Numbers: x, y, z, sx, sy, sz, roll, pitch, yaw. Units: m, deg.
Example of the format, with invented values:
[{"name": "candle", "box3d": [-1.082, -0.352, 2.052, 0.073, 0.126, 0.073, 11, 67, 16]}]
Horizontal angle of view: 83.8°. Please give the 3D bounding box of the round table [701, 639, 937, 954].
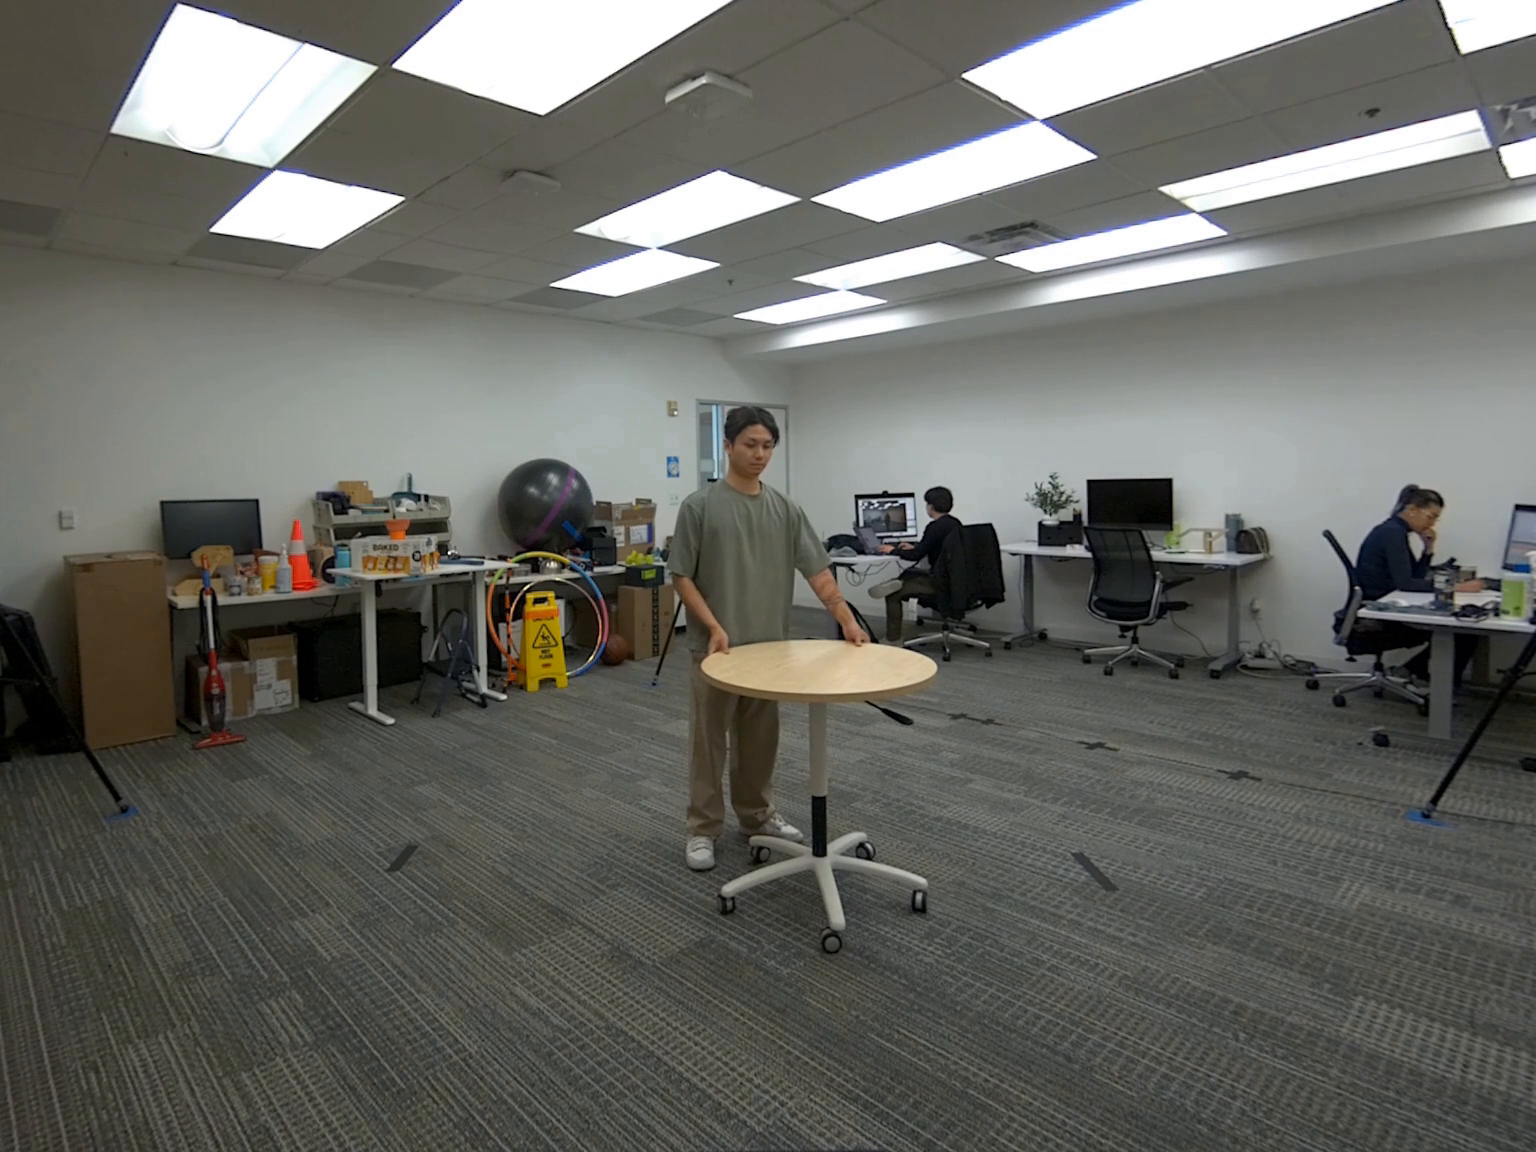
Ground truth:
[{"name": "round table", "box3d": [0.167, 0.675, 2.843, 0.784, 0.783, 0.789, 0, 5, -2]}]
